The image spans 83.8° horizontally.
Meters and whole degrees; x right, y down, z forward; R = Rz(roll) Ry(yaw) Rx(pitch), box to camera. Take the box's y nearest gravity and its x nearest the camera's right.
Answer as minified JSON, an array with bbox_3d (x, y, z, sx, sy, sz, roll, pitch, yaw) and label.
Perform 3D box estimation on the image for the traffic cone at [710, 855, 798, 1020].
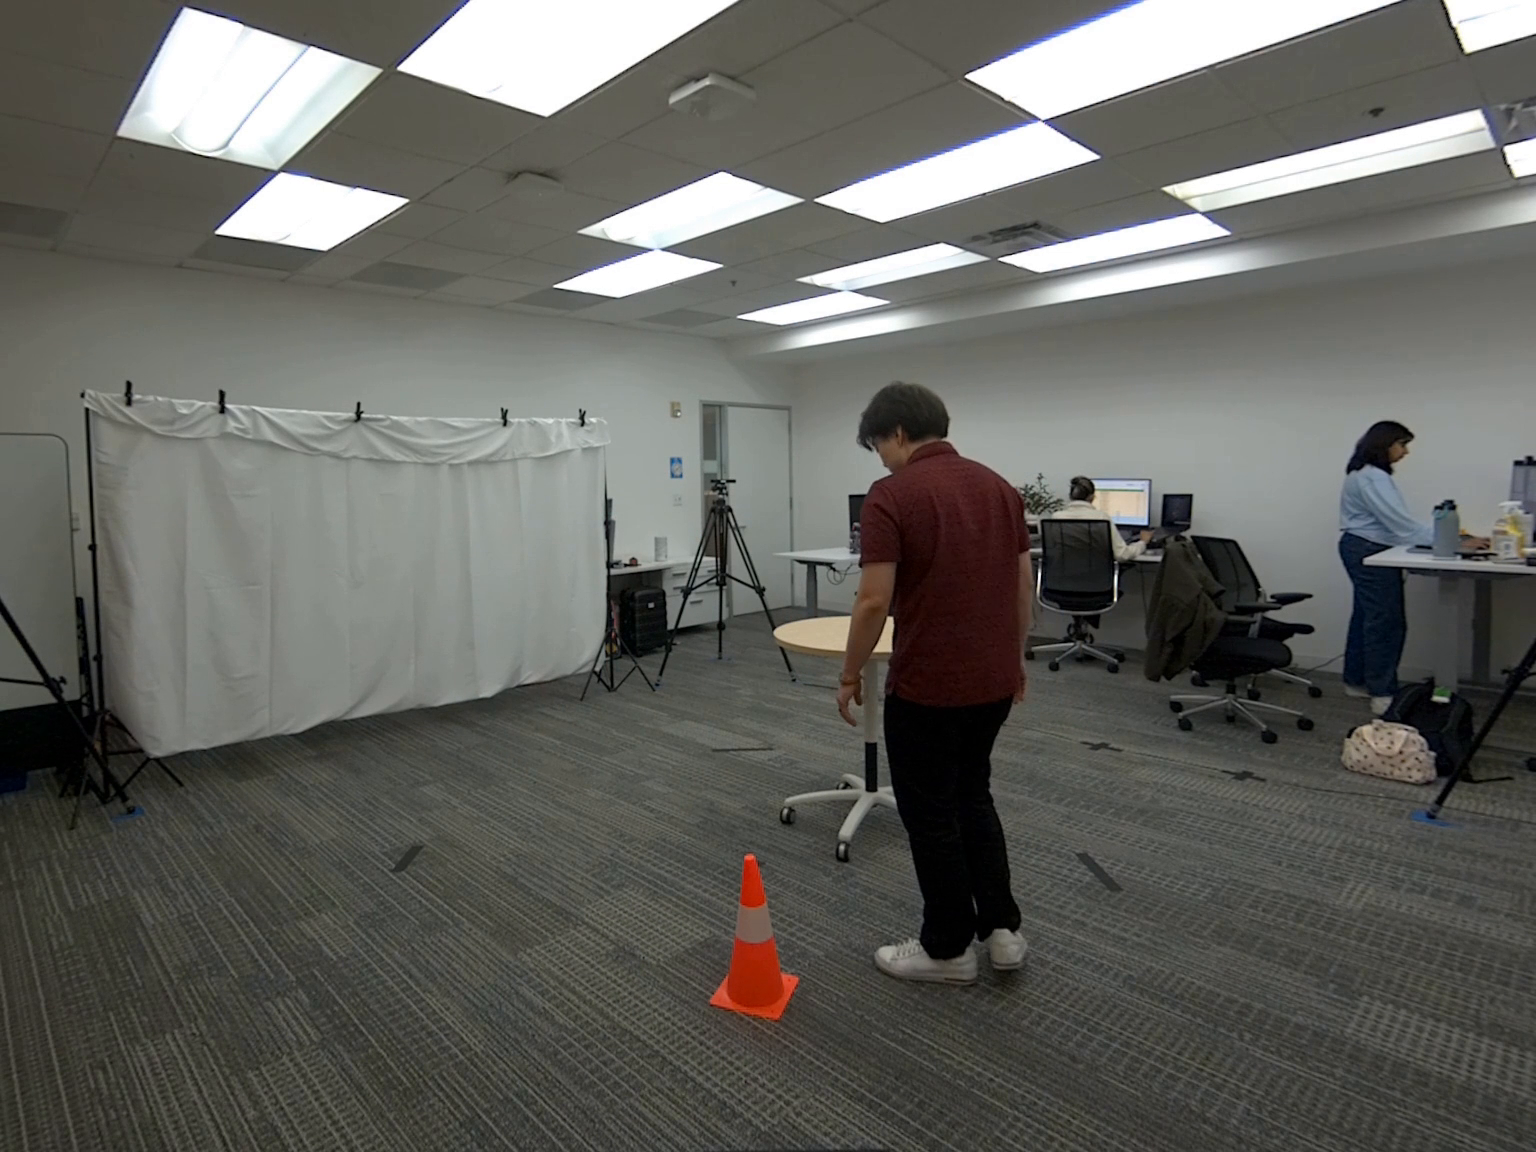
[{"bbox_3d":[-0.028,0.954,2.317,0.209,0.382,0.200,0,6,22],"label":"traffic cone"}]
